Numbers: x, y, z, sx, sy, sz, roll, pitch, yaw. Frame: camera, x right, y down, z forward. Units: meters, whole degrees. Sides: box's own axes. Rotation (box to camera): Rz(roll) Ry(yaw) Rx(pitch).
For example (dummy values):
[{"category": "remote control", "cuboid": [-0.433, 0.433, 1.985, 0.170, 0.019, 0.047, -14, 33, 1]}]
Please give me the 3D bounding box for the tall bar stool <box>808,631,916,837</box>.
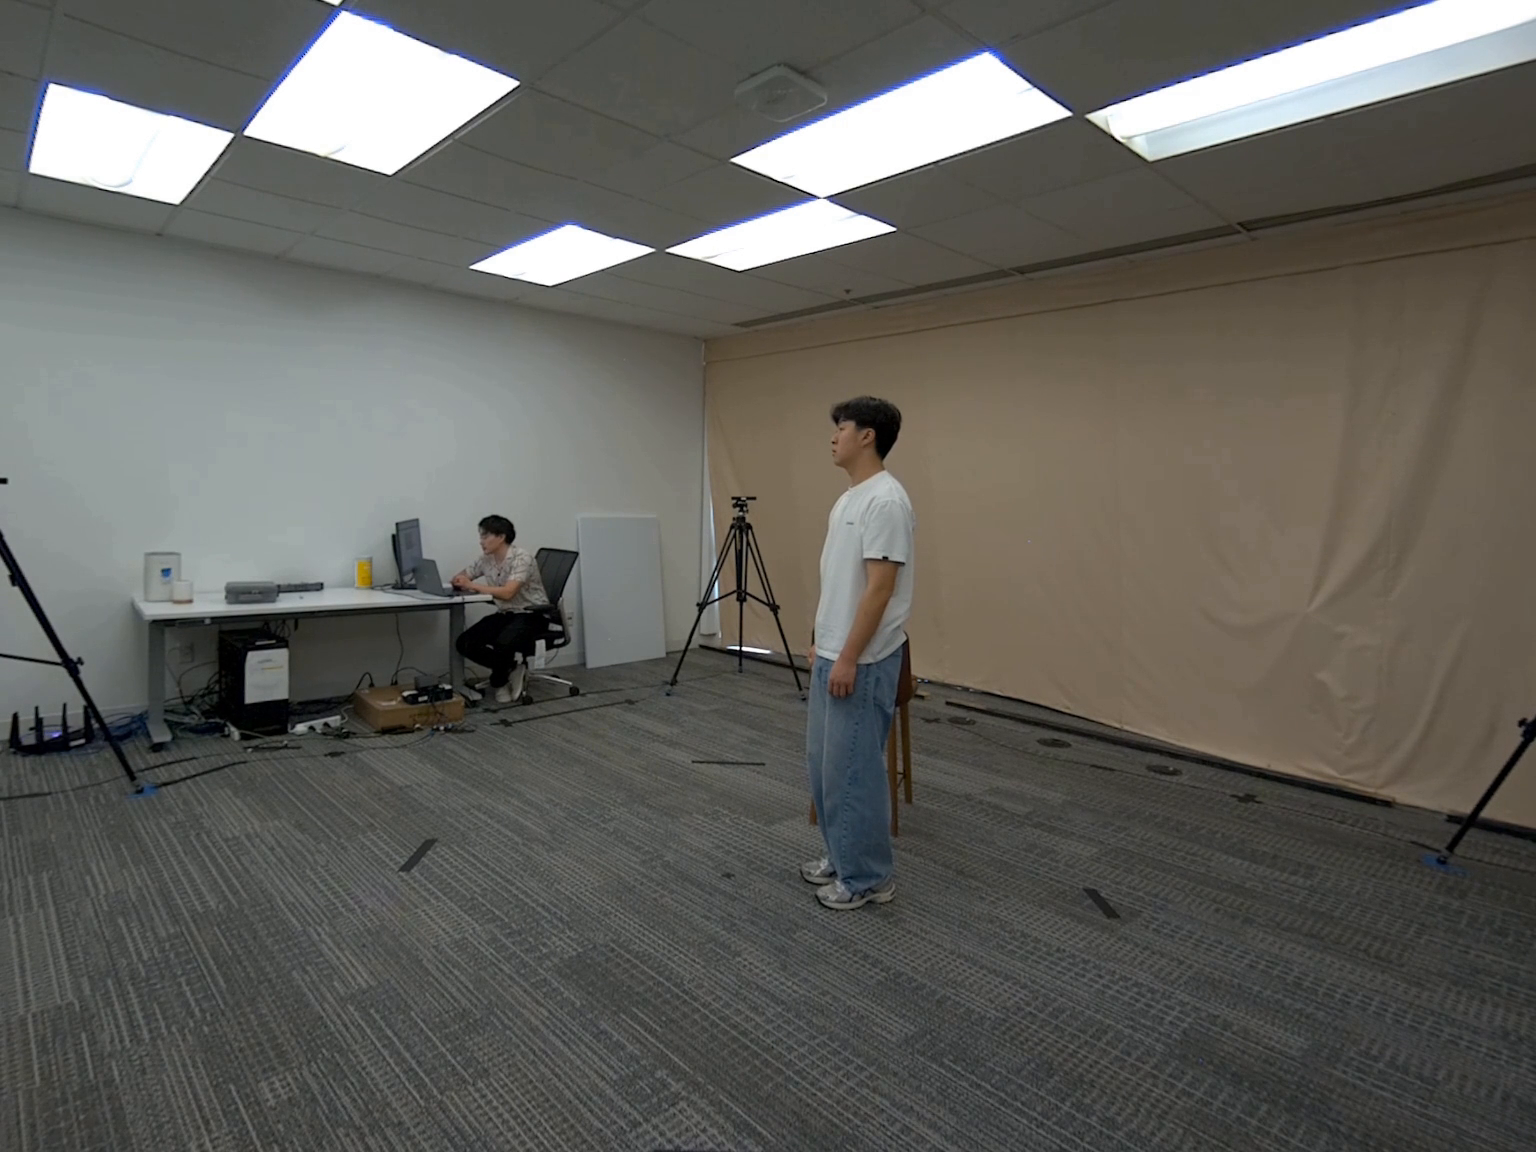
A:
[{"category": "tall bar stool", "cuboid": [0.421, 0.626, 3.750, 0.463, 0.886, 0.462, 2, 5, 18]}]
